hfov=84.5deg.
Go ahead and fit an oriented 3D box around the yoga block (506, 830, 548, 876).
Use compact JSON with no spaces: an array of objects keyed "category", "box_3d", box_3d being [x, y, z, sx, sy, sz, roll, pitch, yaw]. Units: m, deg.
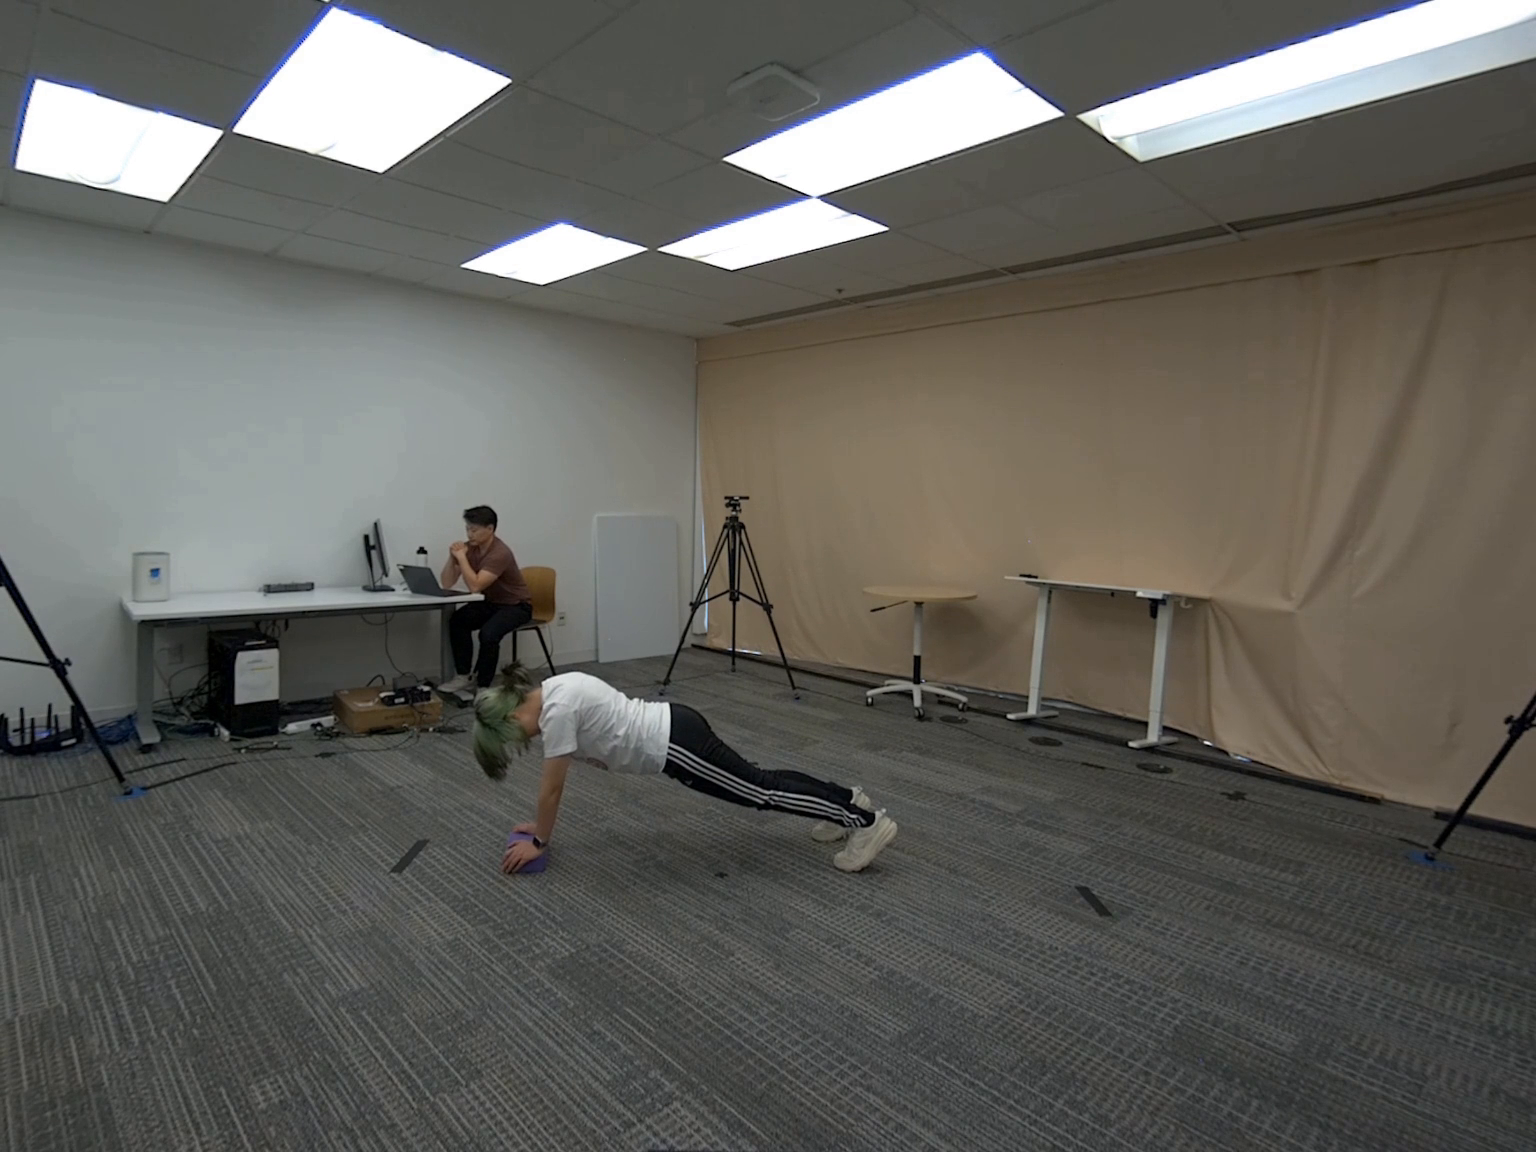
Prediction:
[{"category":"yoga block","box_3d":[-0.914,1.040,3.197,0.148,0.076,0.232,1,7,-9]}]
